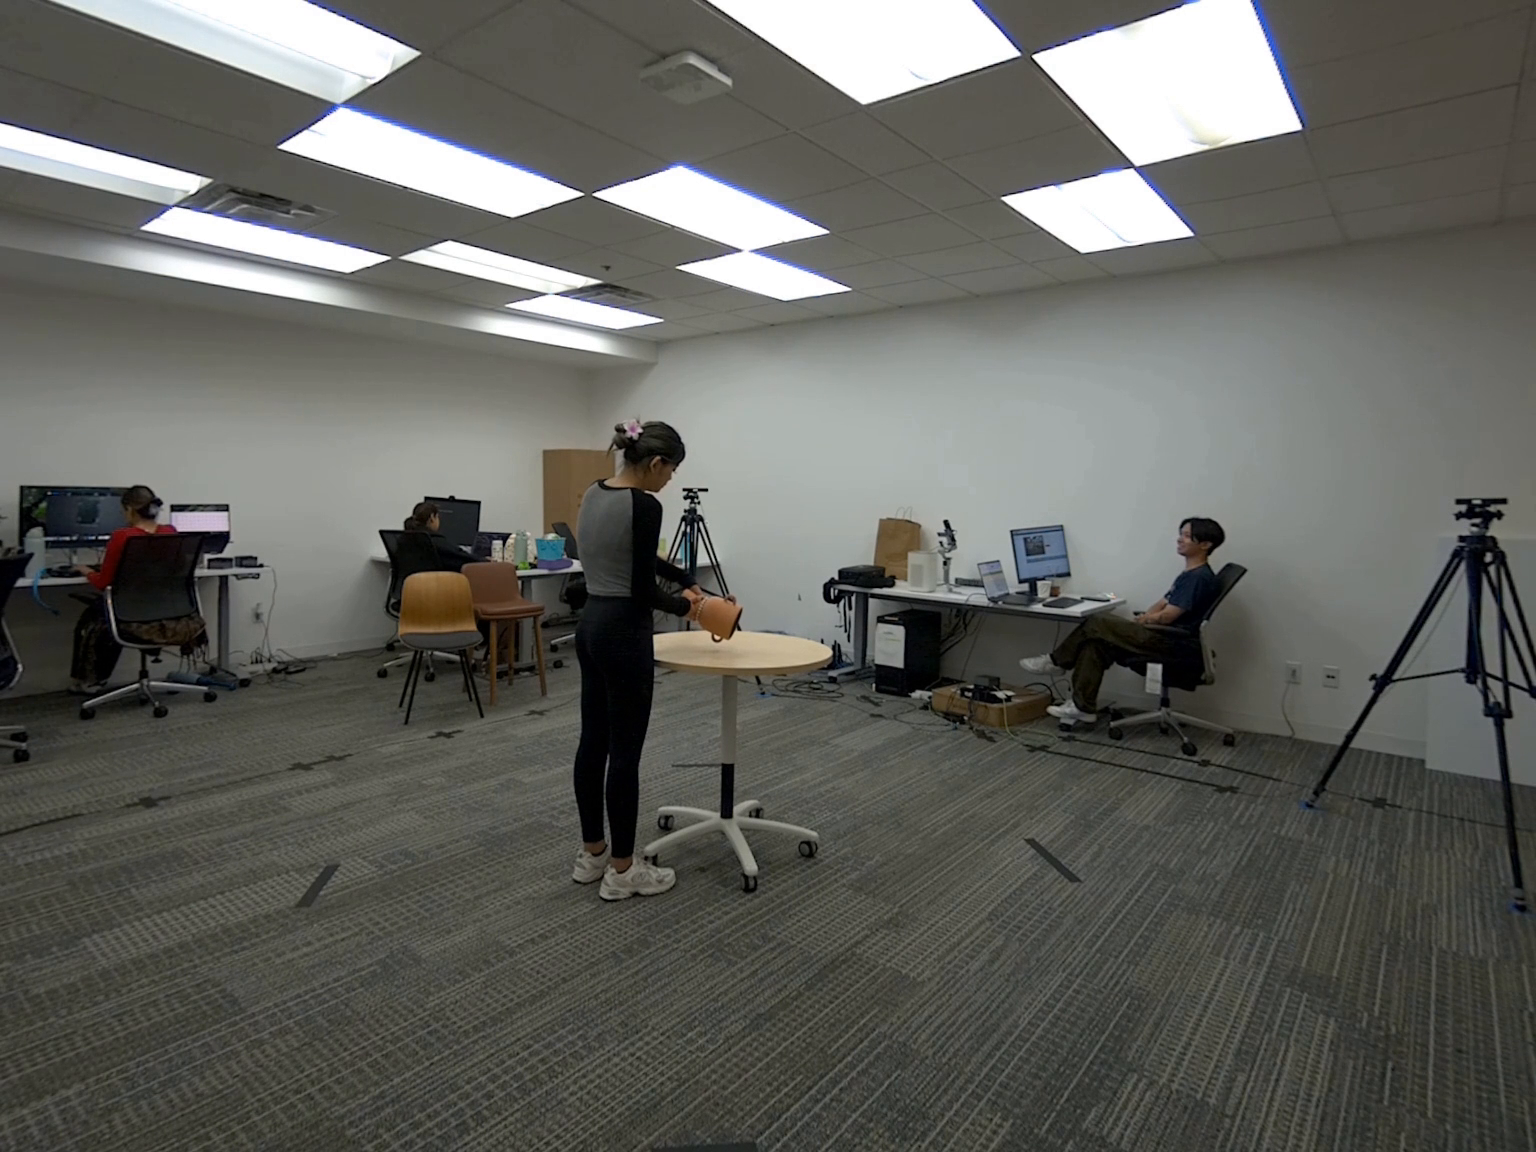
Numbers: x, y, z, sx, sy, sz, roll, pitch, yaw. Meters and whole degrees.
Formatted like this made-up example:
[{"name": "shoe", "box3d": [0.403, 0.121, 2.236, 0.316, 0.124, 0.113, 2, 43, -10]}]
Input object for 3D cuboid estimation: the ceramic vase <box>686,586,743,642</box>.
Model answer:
[{"name": "ceramic vase", "box3d": [-0.220, 0.132, 3.152, 0.223, 0.160, 0.132, 23, -25, 9]}]
